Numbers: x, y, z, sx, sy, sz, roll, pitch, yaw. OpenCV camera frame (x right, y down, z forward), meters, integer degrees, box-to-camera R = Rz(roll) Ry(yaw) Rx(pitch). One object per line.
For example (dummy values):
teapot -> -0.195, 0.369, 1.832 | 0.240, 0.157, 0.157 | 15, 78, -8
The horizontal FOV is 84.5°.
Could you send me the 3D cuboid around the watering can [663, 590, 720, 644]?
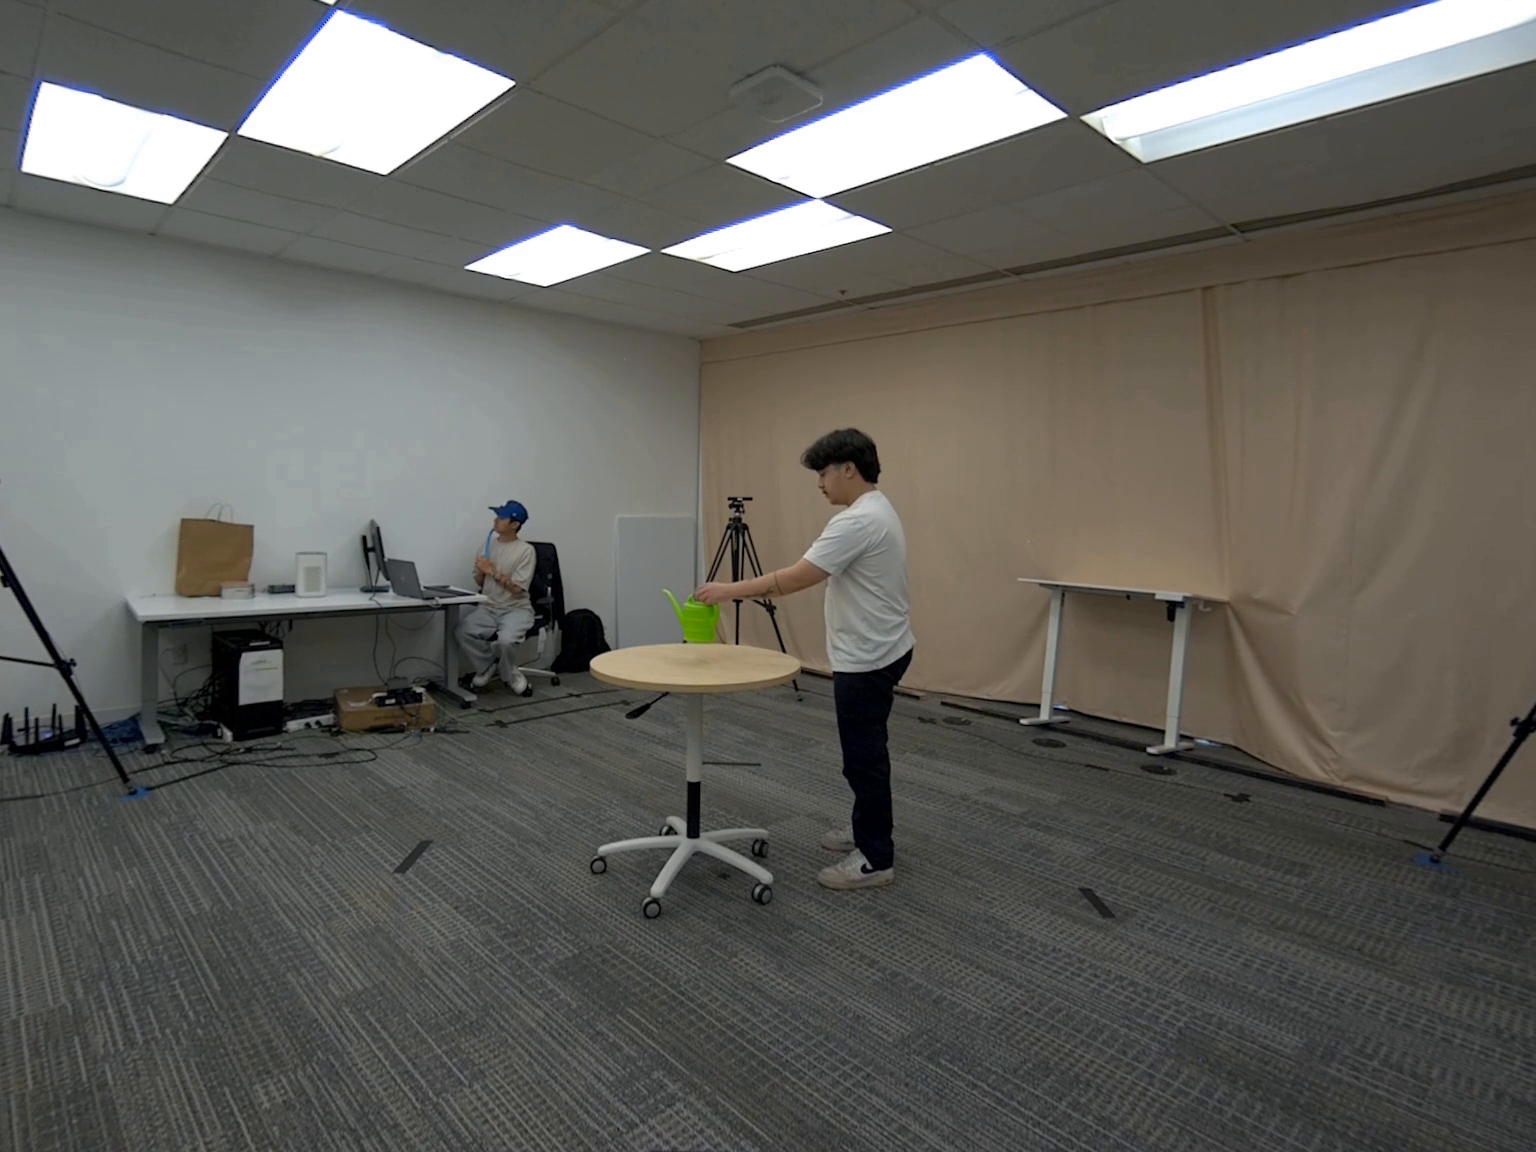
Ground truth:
watering can -> -0.280, 0.150, 3.119 | 0.096, 0.176, 0.285 | -6, 10, -38
